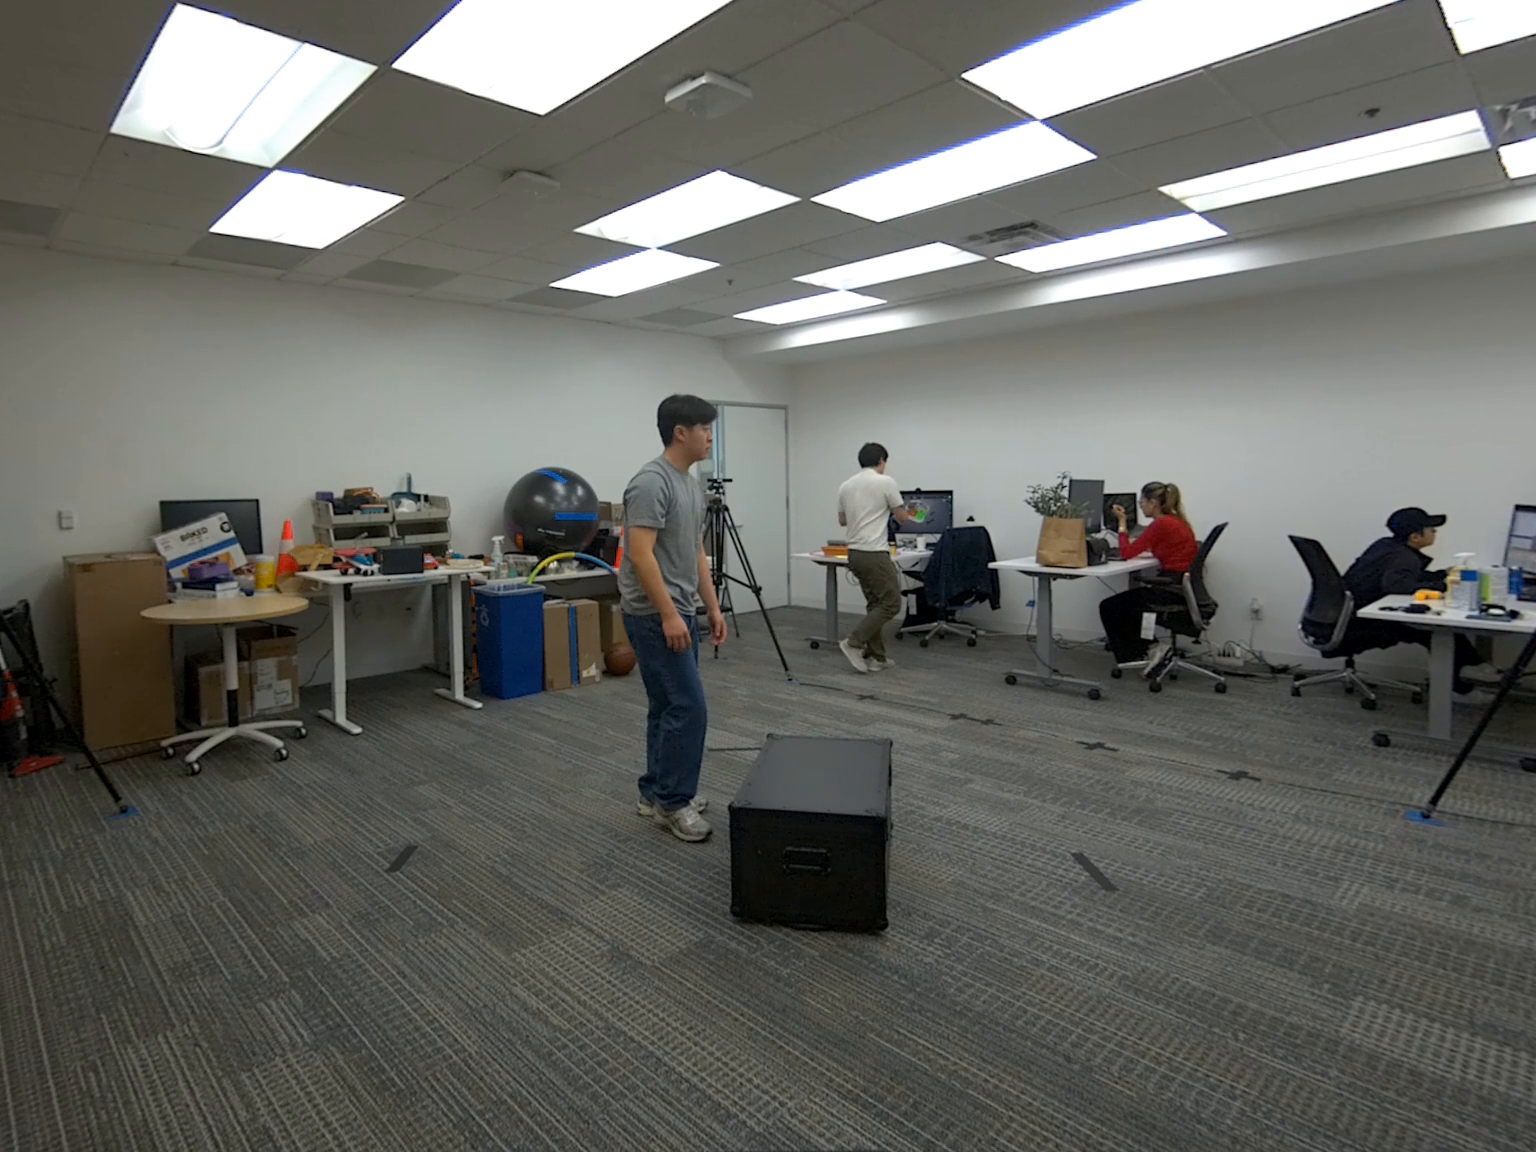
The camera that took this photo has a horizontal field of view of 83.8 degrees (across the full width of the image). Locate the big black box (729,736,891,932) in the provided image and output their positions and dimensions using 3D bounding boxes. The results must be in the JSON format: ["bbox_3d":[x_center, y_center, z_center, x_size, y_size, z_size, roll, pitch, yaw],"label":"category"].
[{"bbox_3d":[0.189,0.857,3.028,0.527,0.394,0.855,0,6,11],"label":"big black box"}]
